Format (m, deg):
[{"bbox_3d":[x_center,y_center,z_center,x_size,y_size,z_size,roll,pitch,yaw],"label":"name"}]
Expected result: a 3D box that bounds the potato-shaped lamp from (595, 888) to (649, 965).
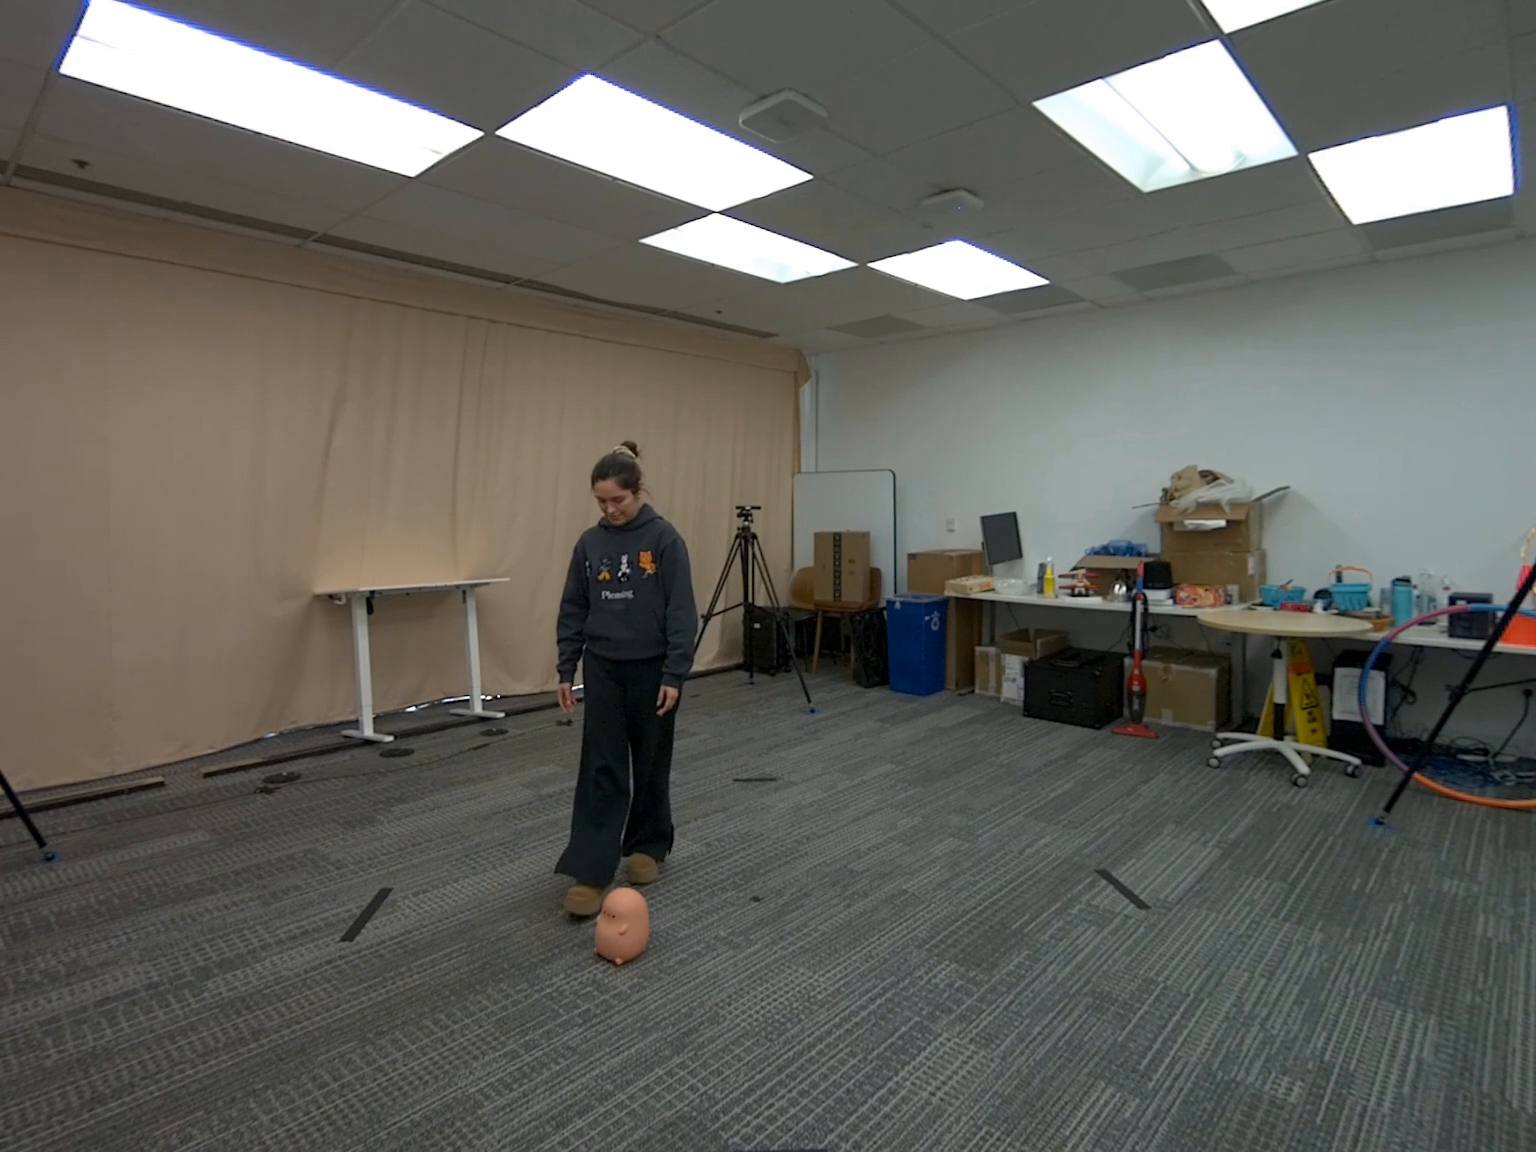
[{"bbox_3d":[-0.437,1.078,2.628,0.166,0.198,0.170,-4,3,-44],"label":"potato-shaped lamp"}]
